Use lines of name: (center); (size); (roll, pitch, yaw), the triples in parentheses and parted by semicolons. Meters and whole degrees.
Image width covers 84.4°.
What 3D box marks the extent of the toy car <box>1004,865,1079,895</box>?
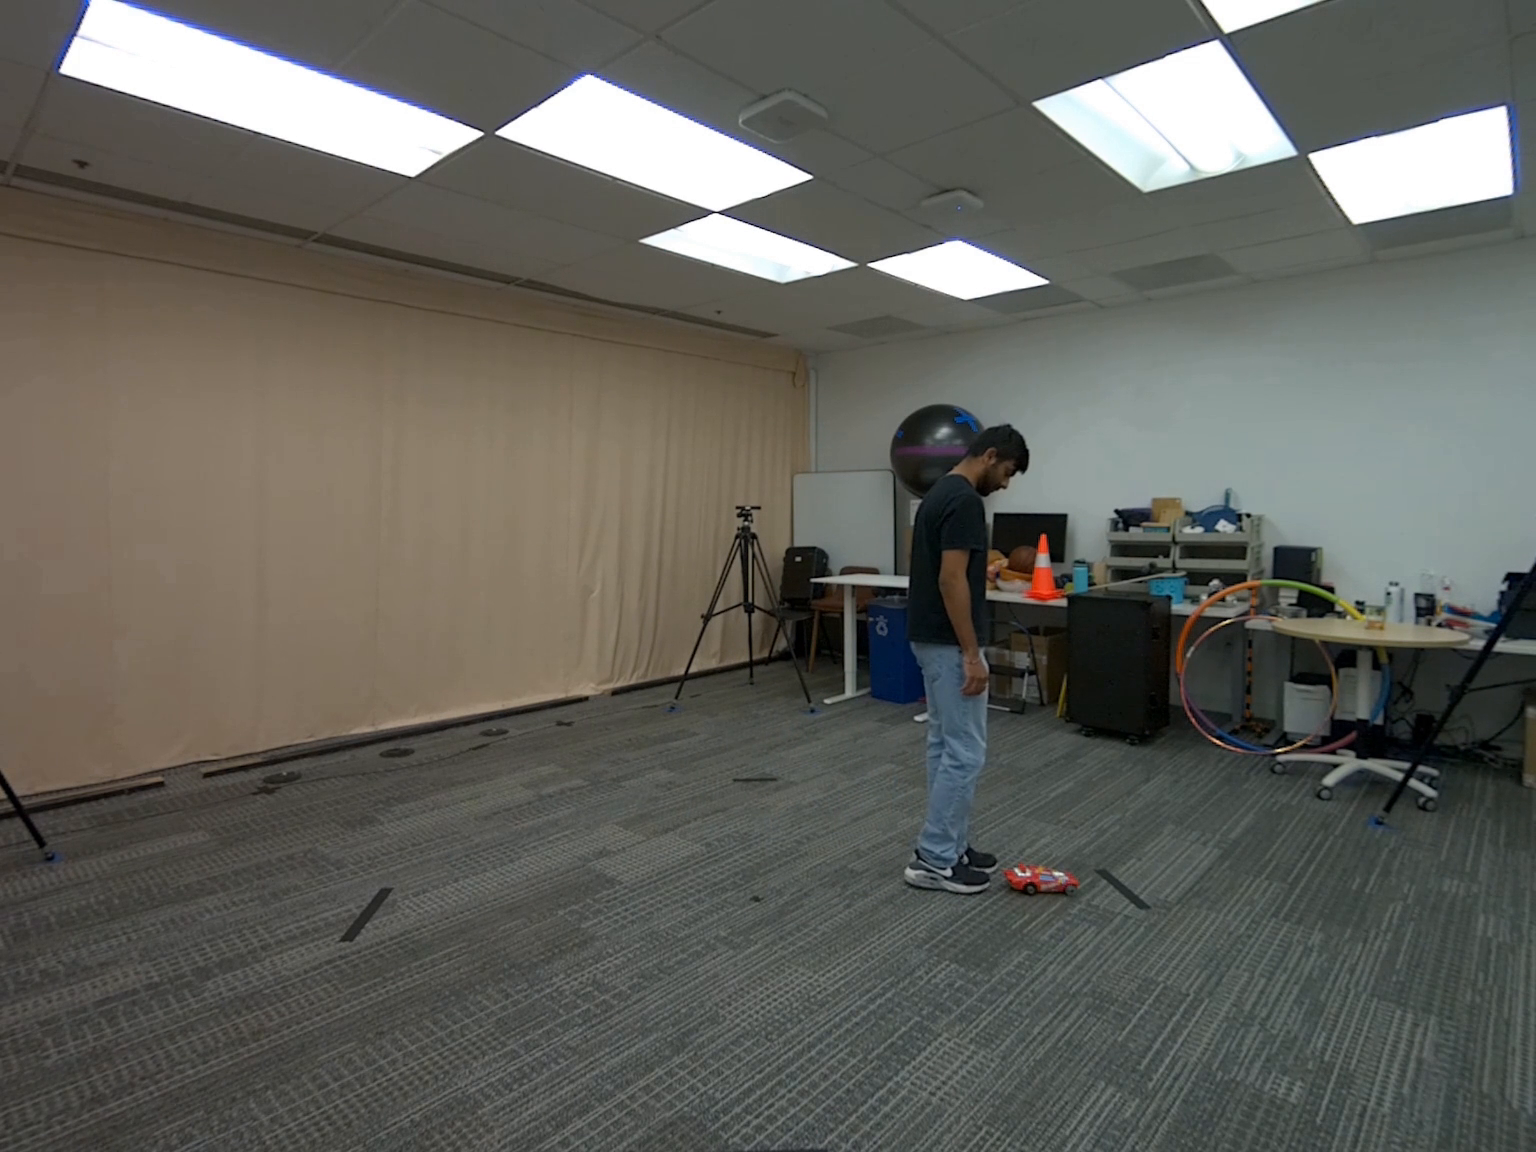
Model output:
toy car: (0.990, 1.107, 3.045); (0.255, 0.083, 0.130); (12, 4, 0)
